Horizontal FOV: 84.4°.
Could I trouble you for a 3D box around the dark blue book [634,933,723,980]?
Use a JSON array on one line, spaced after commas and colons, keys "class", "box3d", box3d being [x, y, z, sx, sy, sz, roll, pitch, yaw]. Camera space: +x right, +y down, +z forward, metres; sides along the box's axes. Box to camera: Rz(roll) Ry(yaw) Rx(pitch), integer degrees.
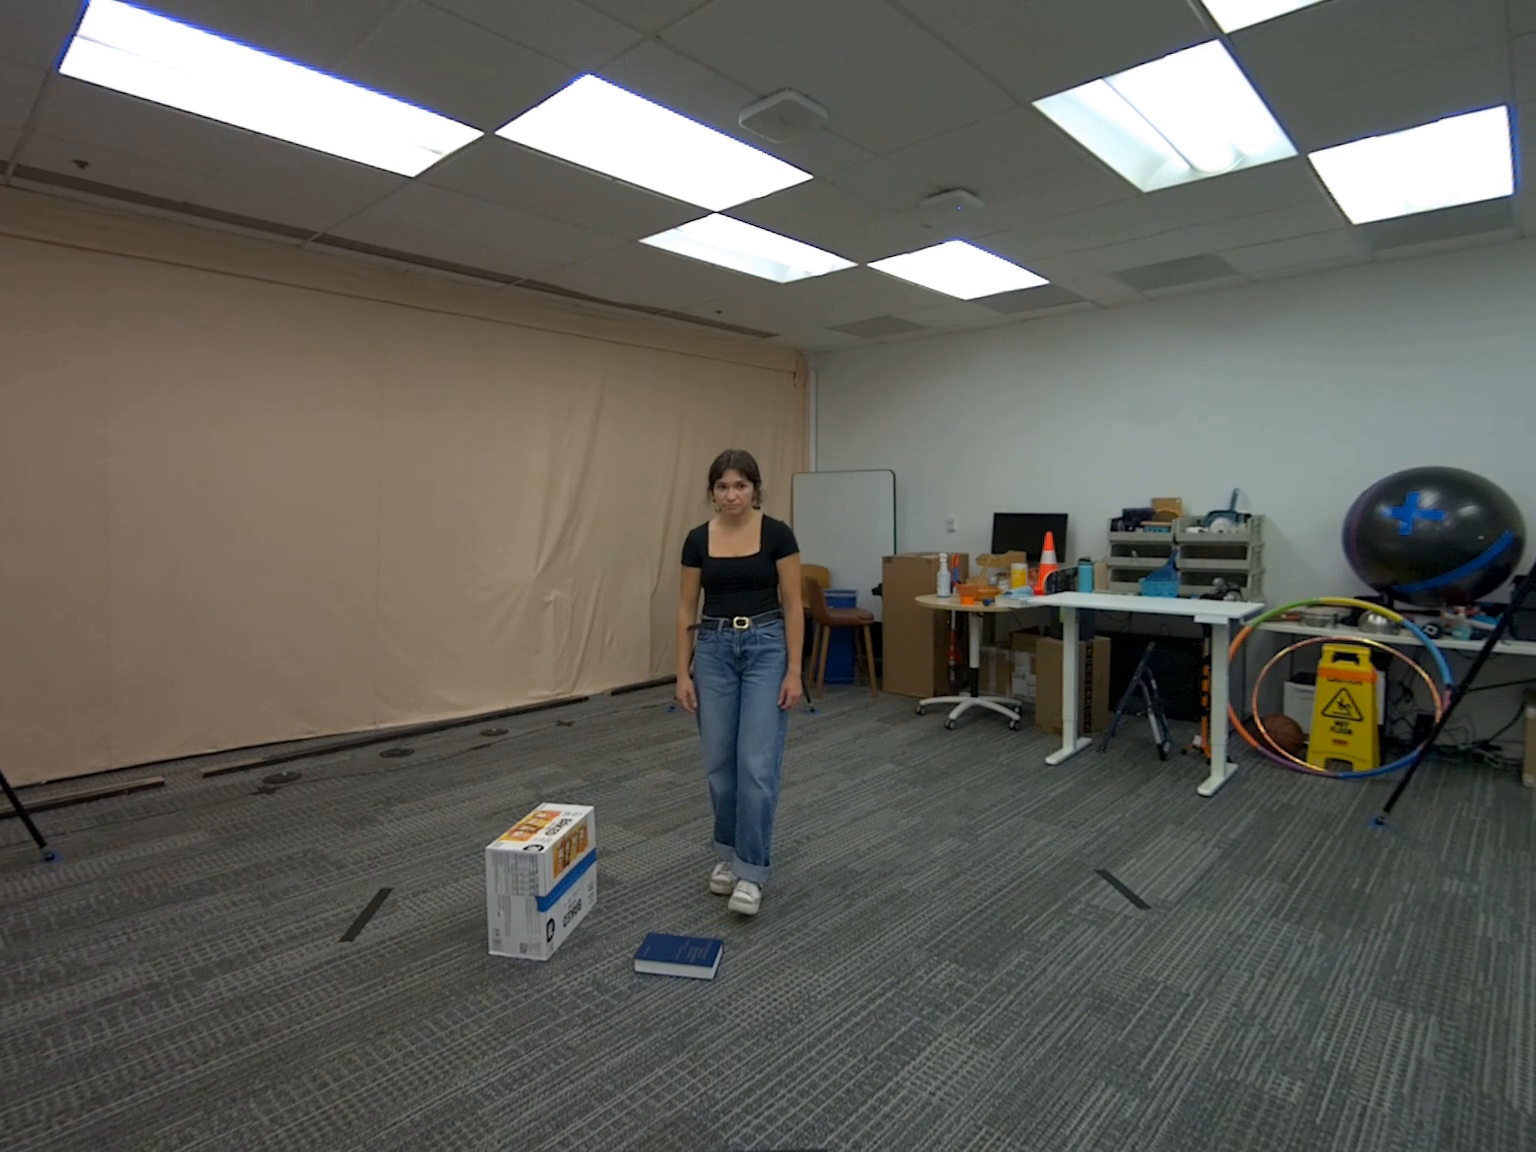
[{"class": "dark blue book", "box3d": [-0.265, 1.153, 2.561, 0.248, 0.045, 0.162, 1, 3, 10]}]
